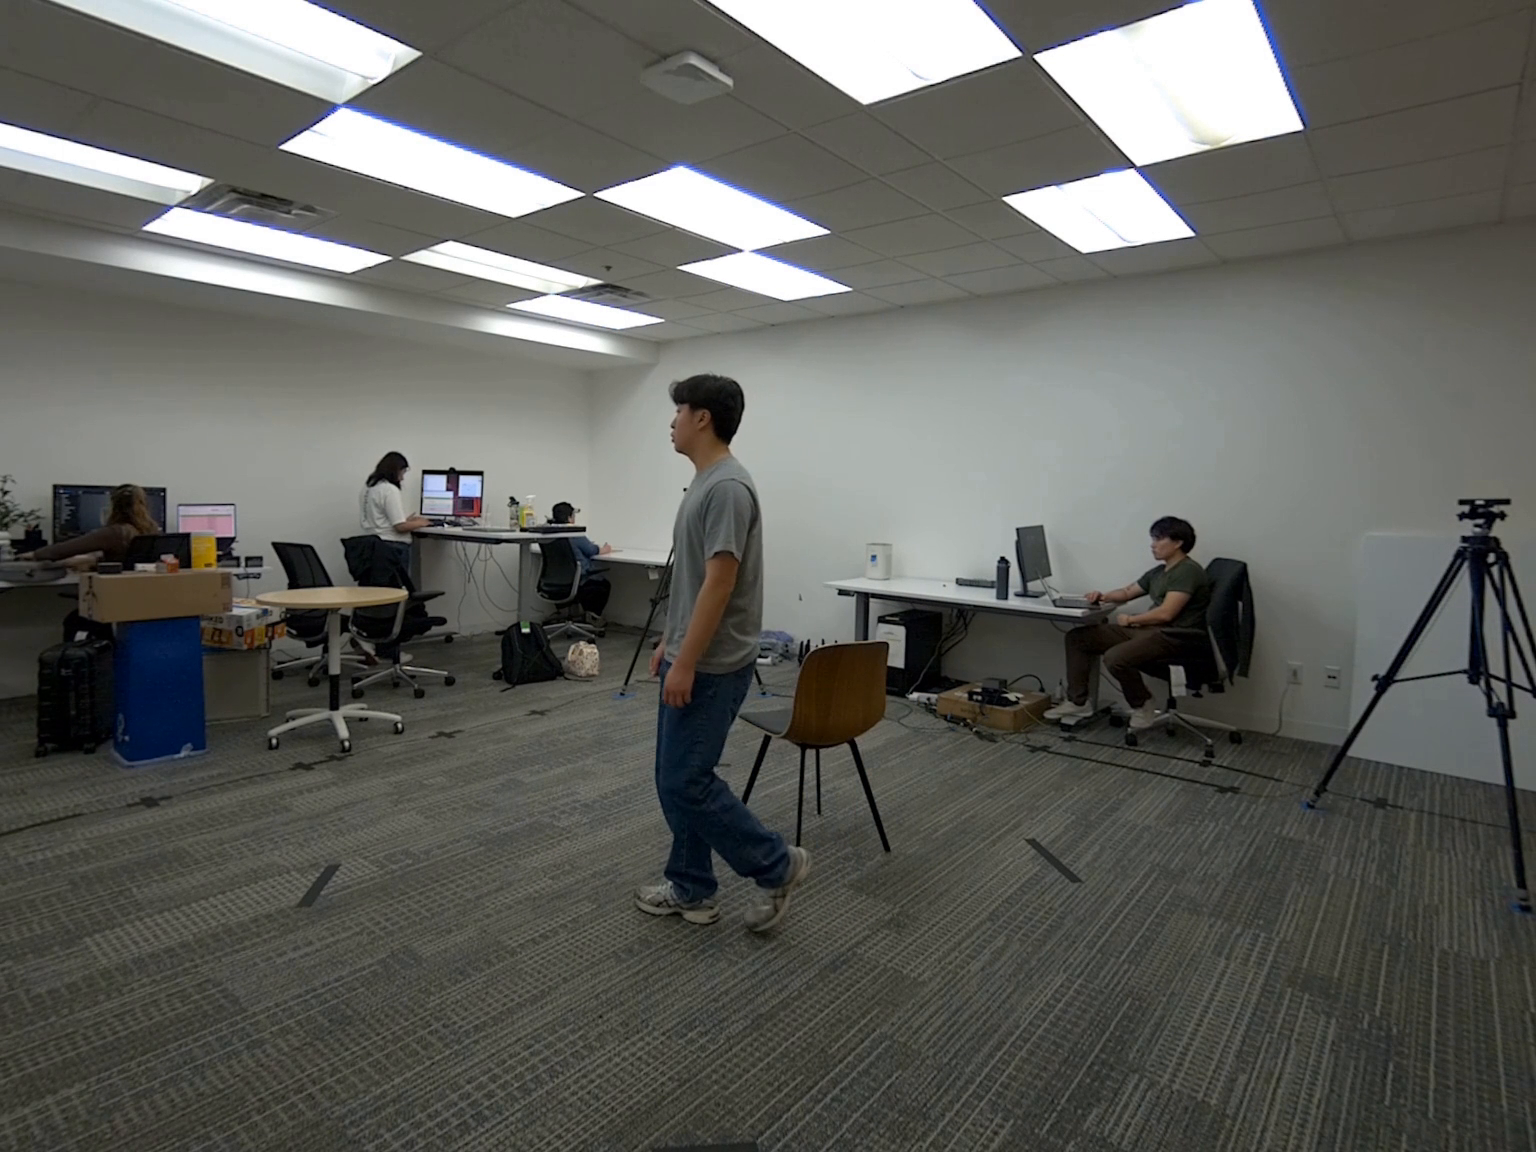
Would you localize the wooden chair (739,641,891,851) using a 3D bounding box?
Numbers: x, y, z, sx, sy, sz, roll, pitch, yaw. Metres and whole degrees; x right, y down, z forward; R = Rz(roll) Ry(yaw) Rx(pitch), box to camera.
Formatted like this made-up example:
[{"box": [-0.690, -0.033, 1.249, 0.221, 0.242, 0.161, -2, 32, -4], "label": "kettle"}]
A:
[{"box": [0.156, 0.626, 3.361, 0.465, 0.872, 0.541, -1, 8, -32], "label": "wooden chair"}]
